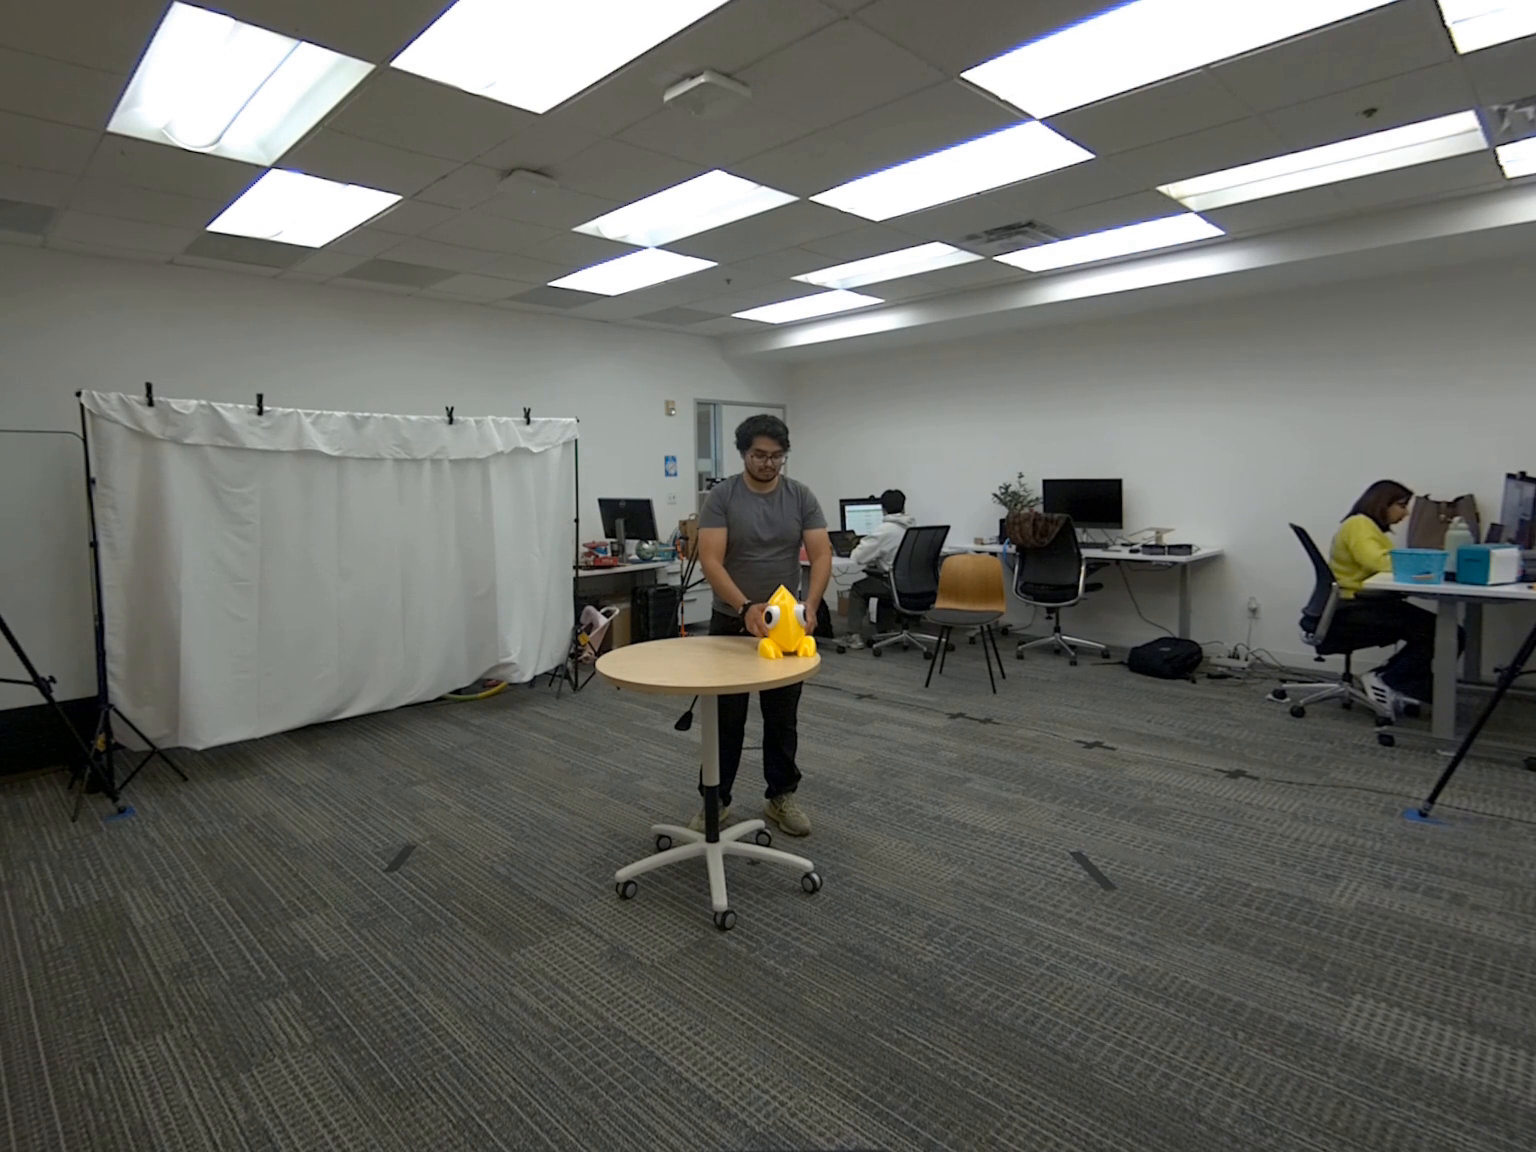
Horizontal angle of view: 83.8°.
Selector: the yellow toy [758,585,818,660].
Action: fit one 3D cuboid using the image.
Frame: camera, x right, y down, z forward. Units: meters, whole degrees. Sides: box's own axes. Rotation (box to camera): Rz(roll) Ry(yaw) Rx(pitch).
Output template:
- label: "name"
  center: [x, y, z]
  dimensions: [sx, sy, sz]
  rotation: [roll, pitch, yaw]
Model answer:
- label: "yellow toy"
  center: [0.062, 0.156, 2.979]
  dimensions: [0.203, 0.229, 0.196]
  rotation: [-4, 6, -9]
